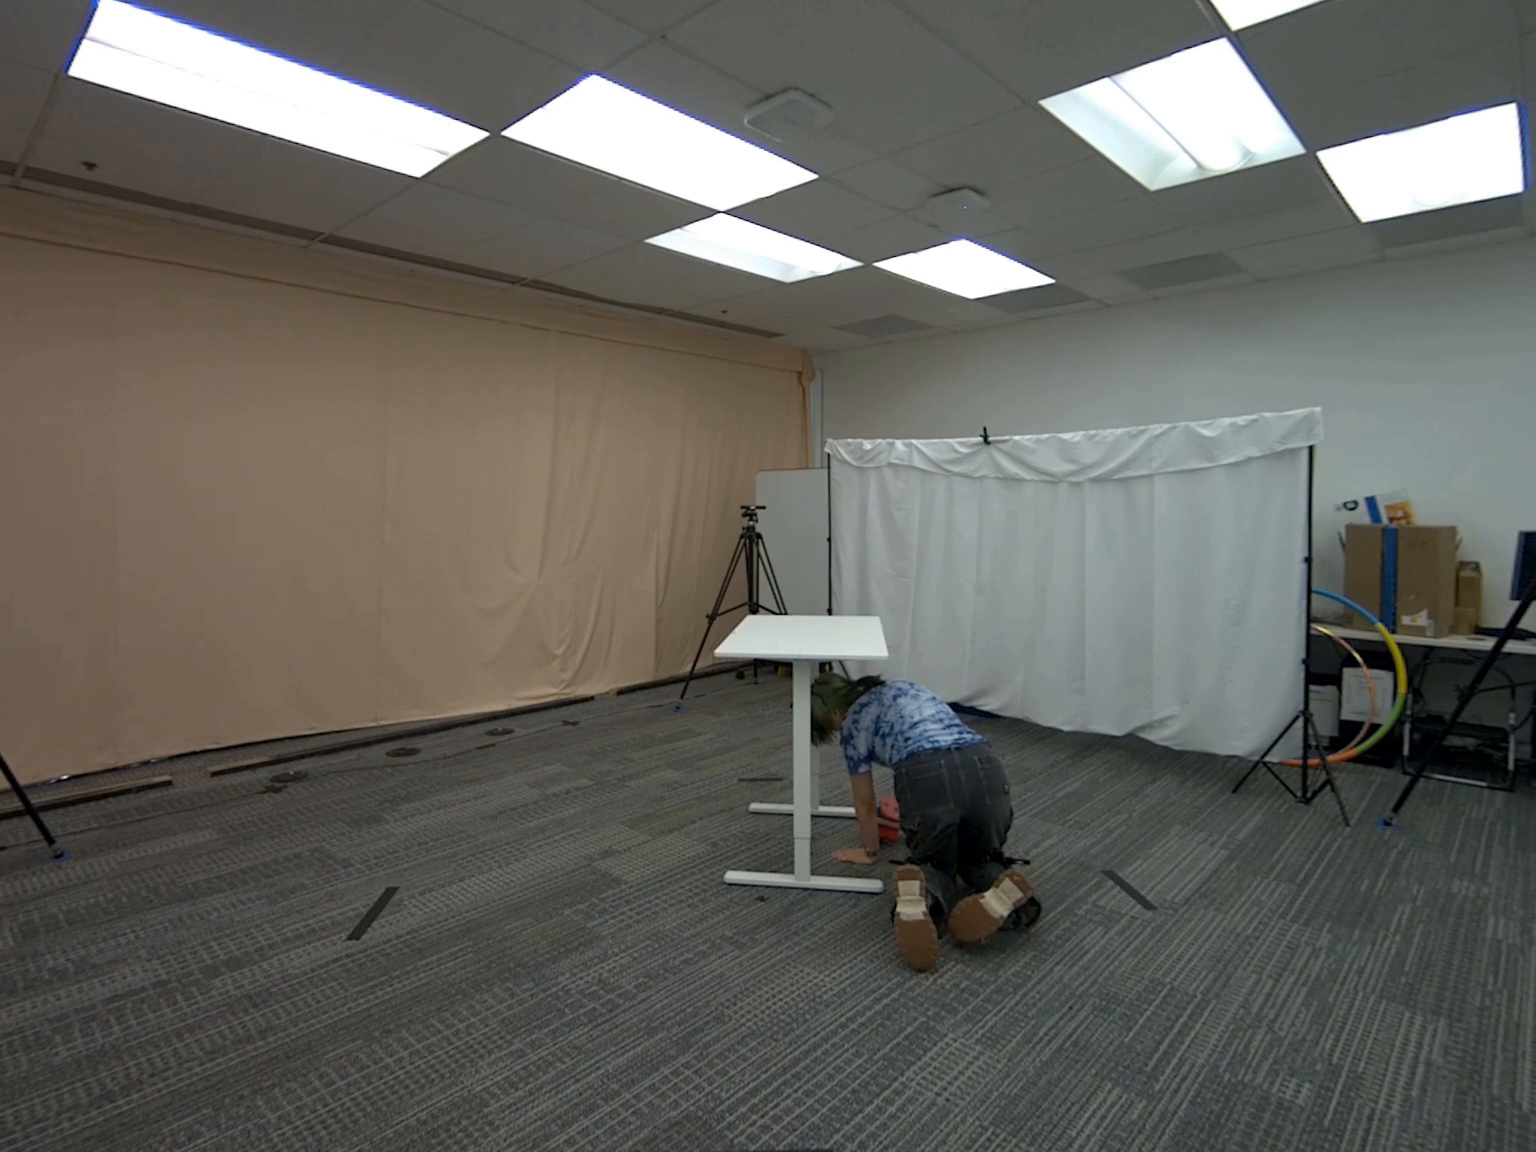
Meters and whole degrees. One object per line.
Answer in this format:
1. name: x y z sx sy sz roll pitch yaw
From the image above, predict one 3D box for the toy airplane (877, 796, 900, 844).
1. toy airplane: 0.544 1.025 3.516 0.254 0.156 0.256 -2 4 -19
